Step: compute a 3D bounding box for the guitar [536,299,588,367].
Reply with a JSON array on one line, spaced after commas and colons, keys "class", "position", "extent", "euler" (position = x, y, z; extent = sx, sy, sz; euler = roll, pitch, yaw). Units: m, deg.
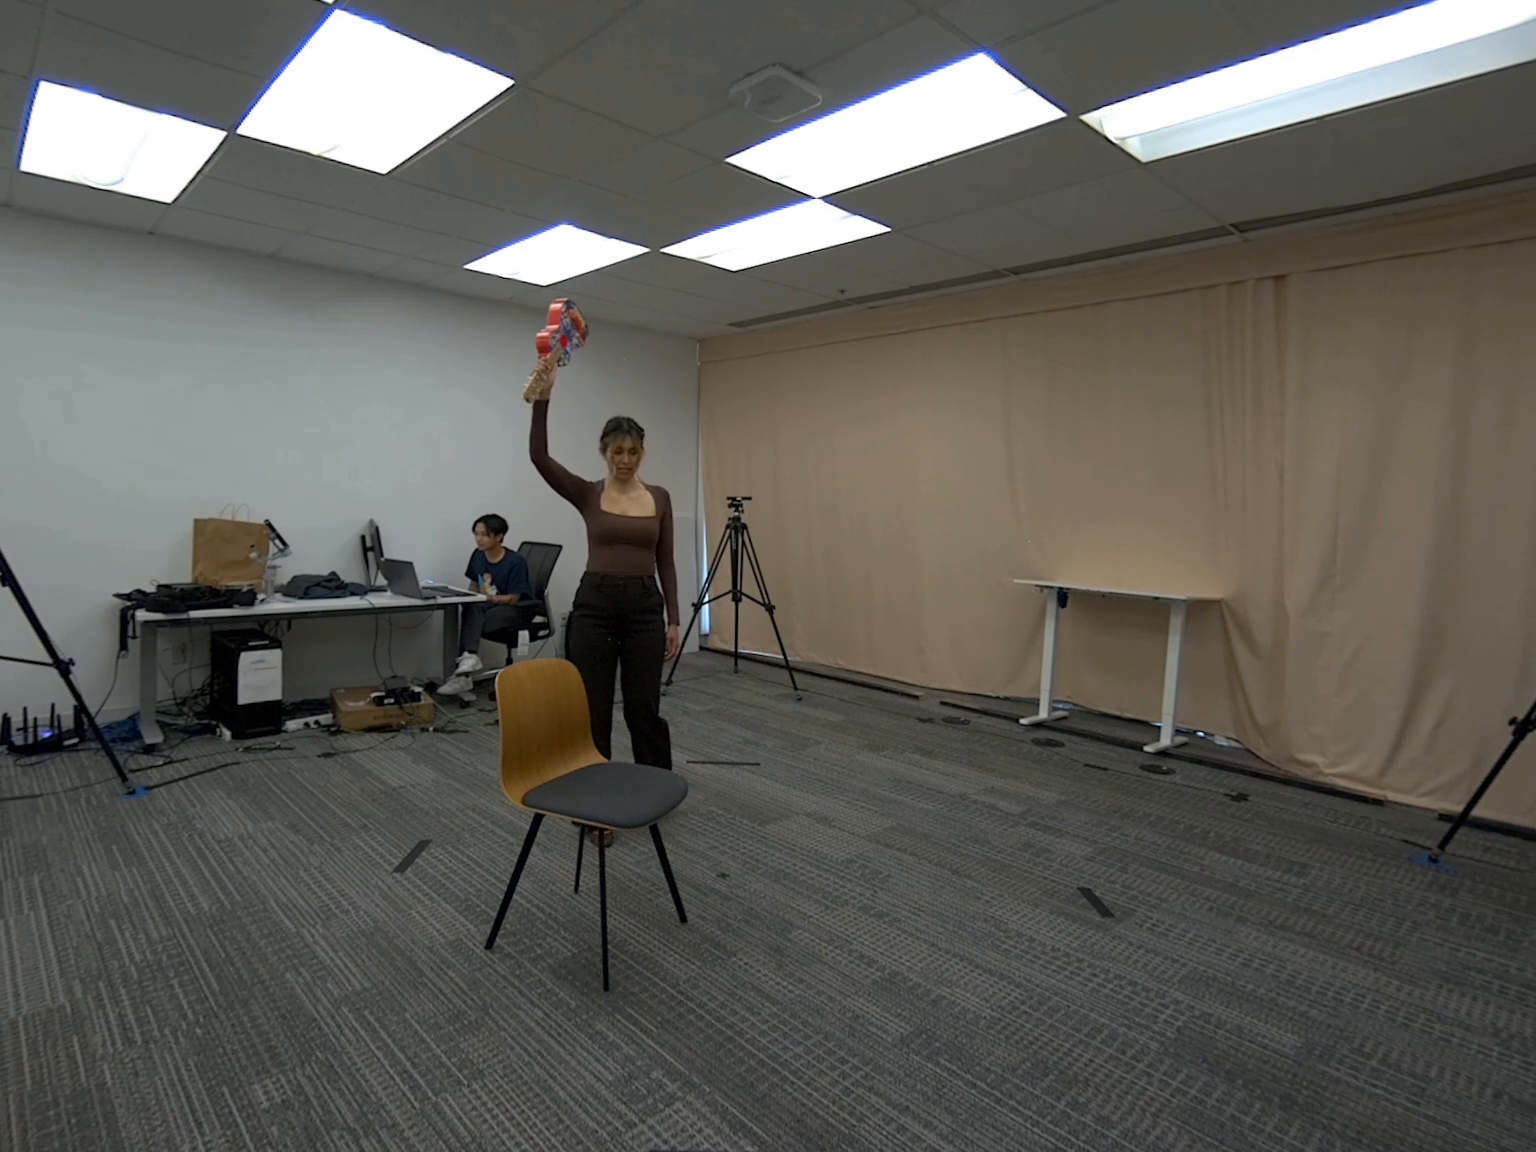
[{"class": "guitar", "position": [-0.827, -0.848, 3.133], "extent": [0.072, 0.187, 0.503], "euler": [0, 43, 23]}]
